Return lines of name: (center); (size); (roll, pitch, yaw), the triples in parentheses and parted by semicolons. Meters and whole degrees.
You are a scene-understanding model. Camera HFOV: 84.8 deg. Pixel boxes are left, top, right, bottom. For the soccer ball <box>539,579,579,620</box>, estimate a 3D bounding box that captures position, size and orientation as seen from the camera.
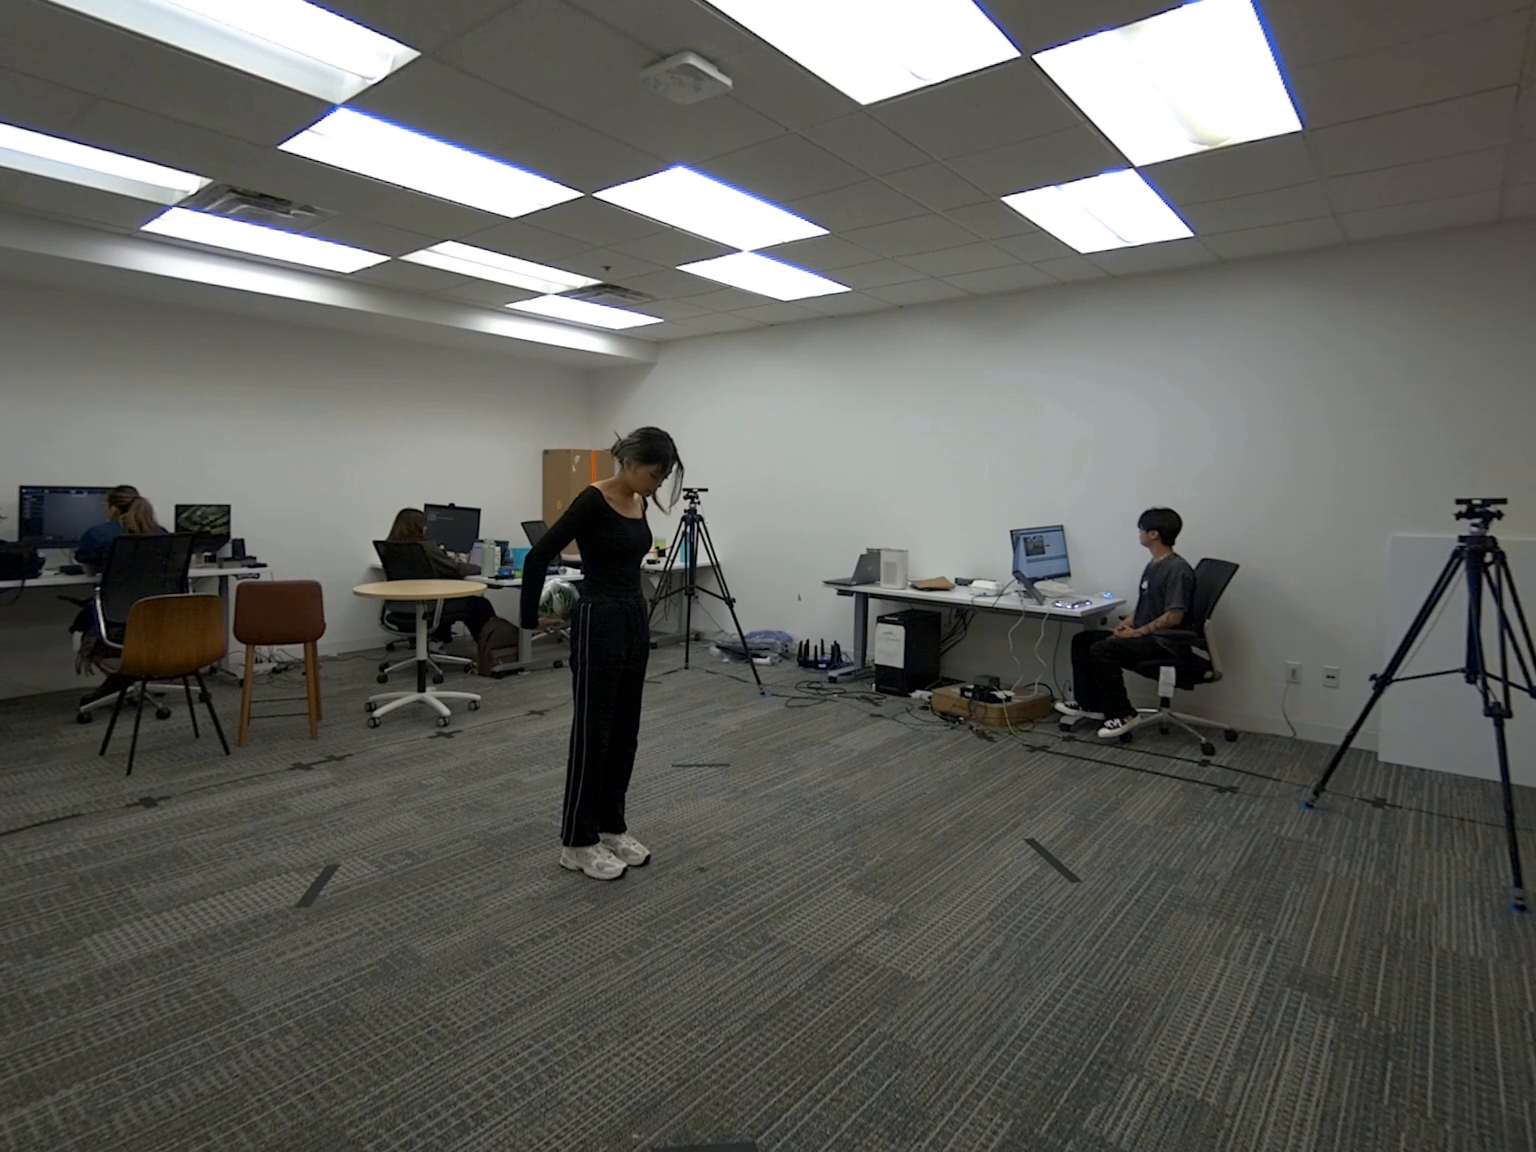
soccer ball: (-0.797, 0.108, 3.183); (0.187, 0.187, 0.188); (1, 4, -2)
